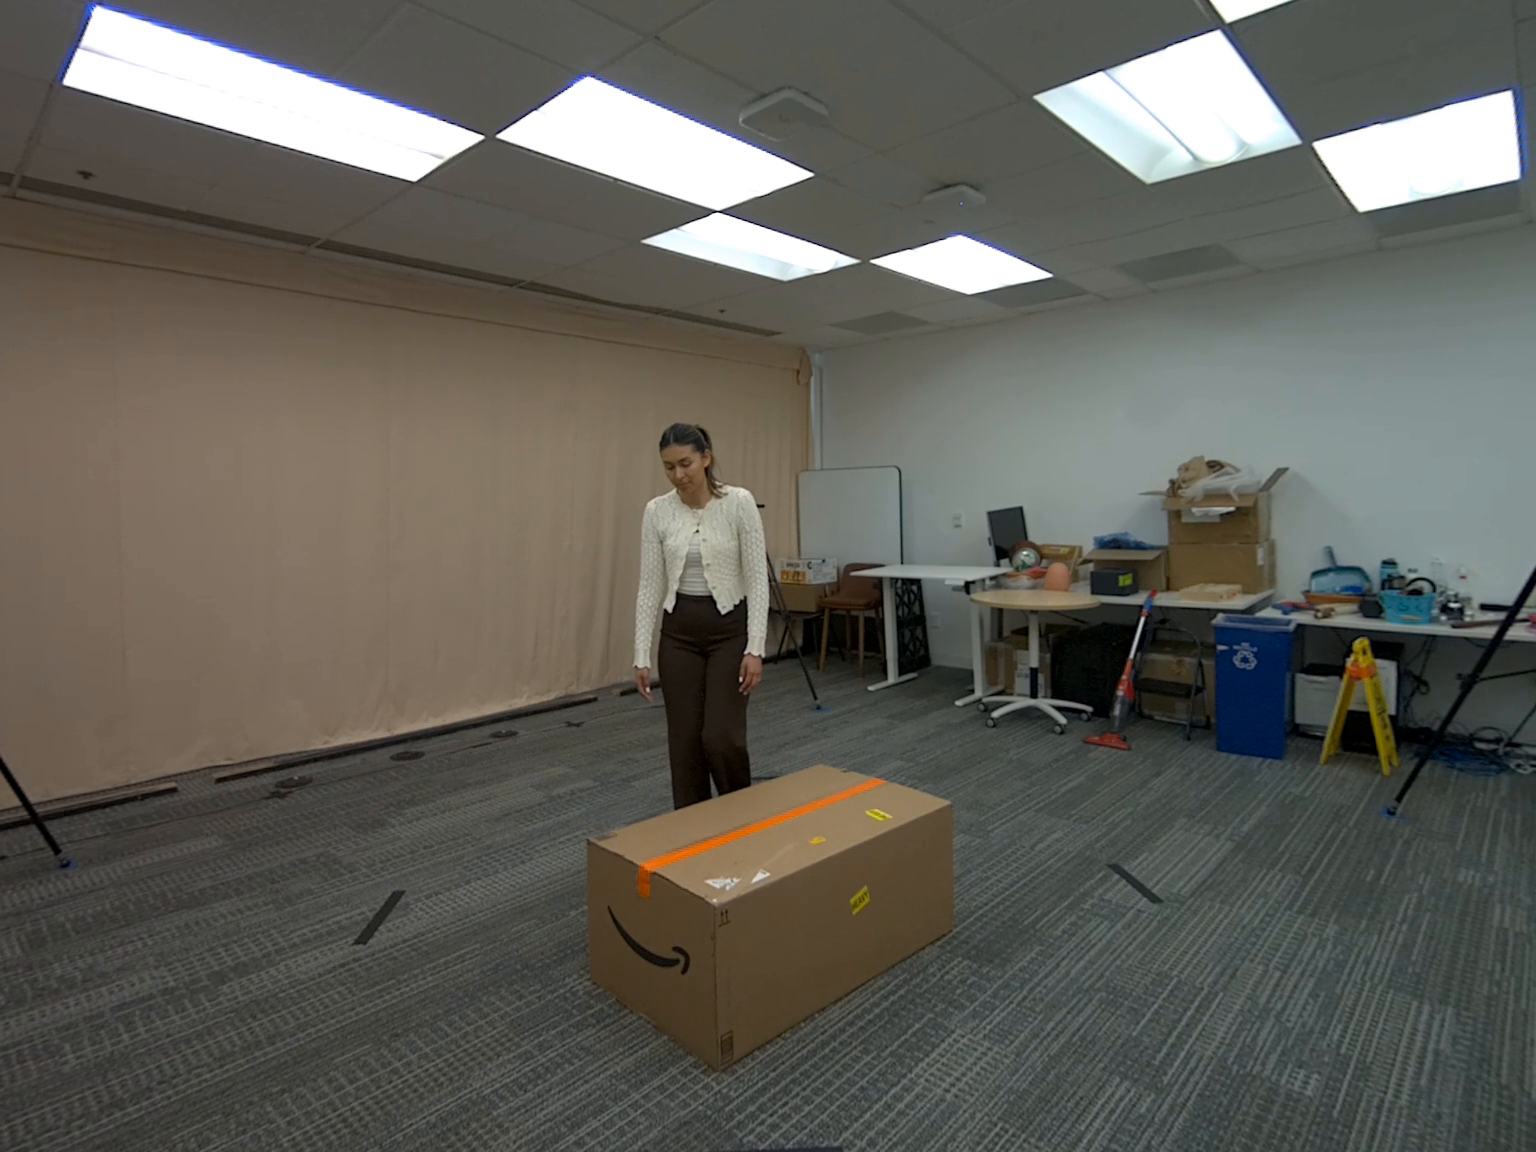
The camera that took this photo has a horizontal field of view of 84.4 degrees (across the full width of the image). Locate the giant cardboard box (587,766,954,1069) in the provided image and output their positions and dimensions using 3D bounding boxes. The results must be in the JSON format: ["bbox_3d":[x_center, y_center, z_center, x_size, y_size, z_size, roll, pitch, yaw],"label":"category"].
[{"bbox_3d":[0.038,0.959,2.596,0.995,0.425,0.597,-5,6,-43],"label":"giant cardboard box"}]
